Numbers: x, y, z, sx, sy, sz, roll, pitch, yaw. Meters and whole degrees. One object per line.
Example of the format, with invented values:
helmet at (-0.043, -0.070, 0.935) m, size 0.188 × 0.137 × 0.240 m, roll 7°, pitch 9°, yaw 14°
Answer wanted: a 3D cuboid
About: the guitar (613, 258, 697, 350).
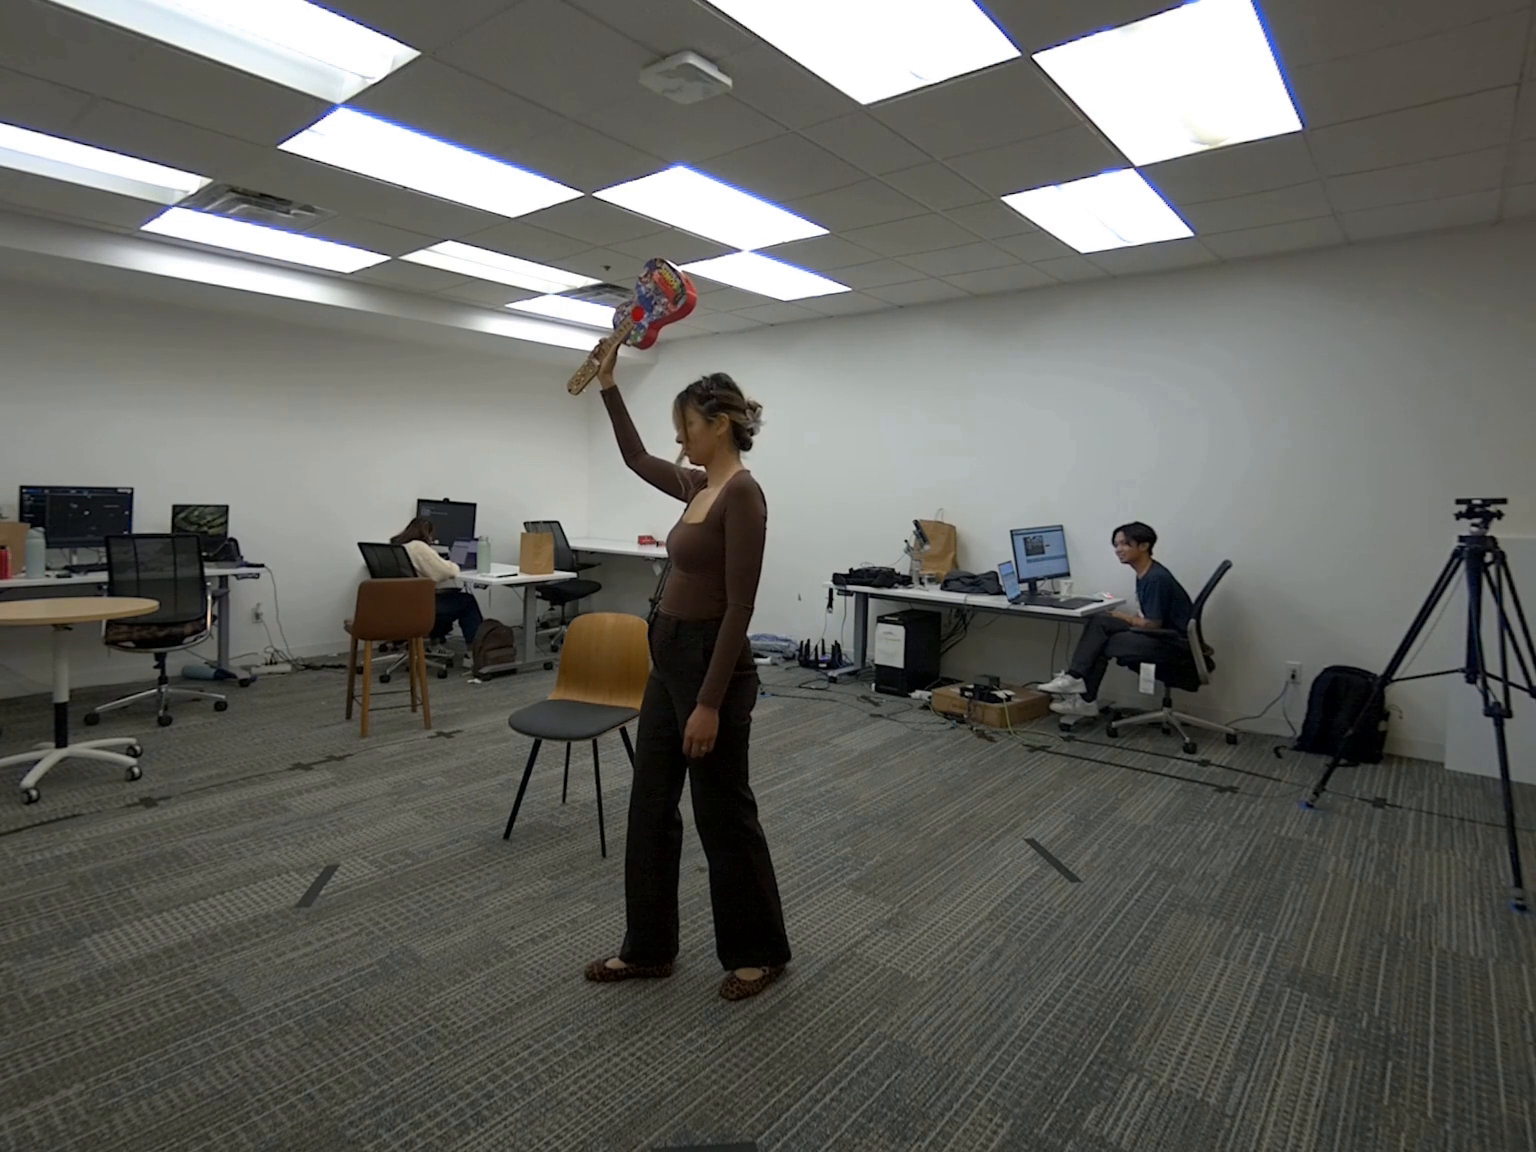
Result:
guitar at (-0.453, -0.758, 2.580) m, size 0.501 × 0.197 × 0.069 m, roll -34°, pitch -16°, yaw 20°
